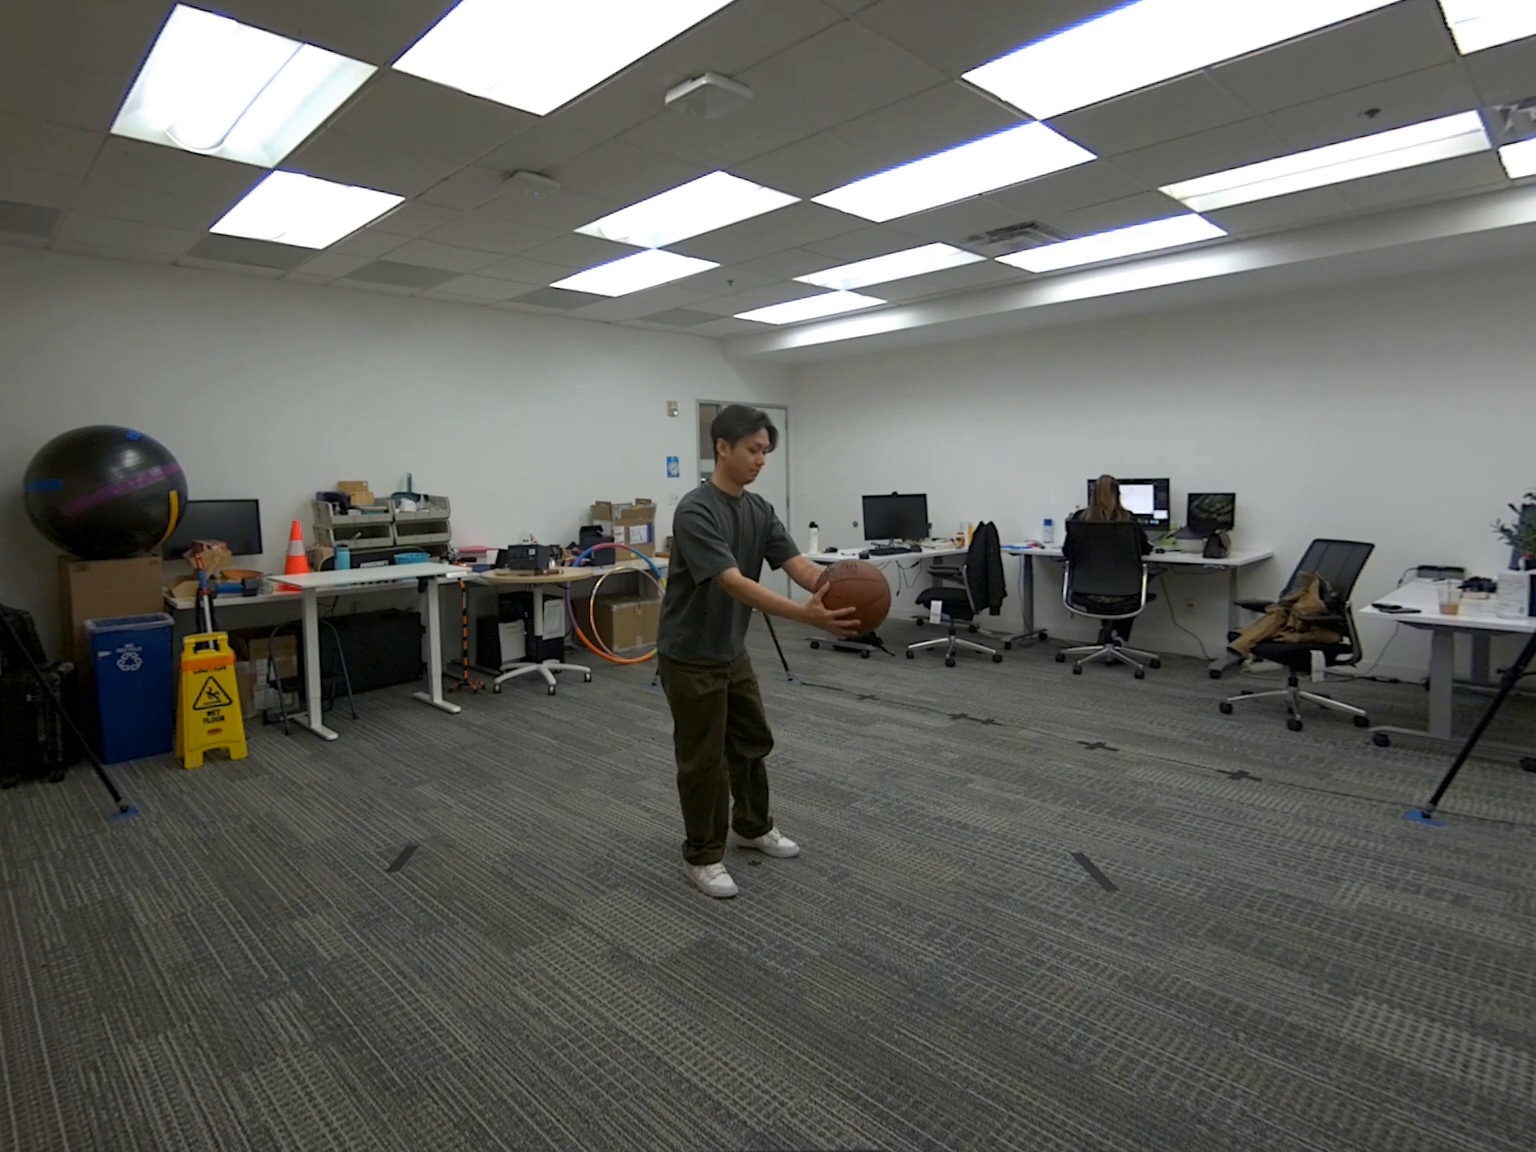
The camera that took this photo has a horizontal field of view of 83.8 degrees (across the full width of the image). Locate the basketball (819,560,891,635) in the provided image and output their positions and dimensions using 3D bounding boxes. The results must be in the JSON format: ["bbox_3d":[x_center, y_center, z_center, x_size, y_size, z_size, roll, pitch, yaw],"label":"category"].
[{"bbox_3d":[0.256,0.078,2.636,0.236,0.235,0.237,-1,5,-2],"label":"basketball"}]
